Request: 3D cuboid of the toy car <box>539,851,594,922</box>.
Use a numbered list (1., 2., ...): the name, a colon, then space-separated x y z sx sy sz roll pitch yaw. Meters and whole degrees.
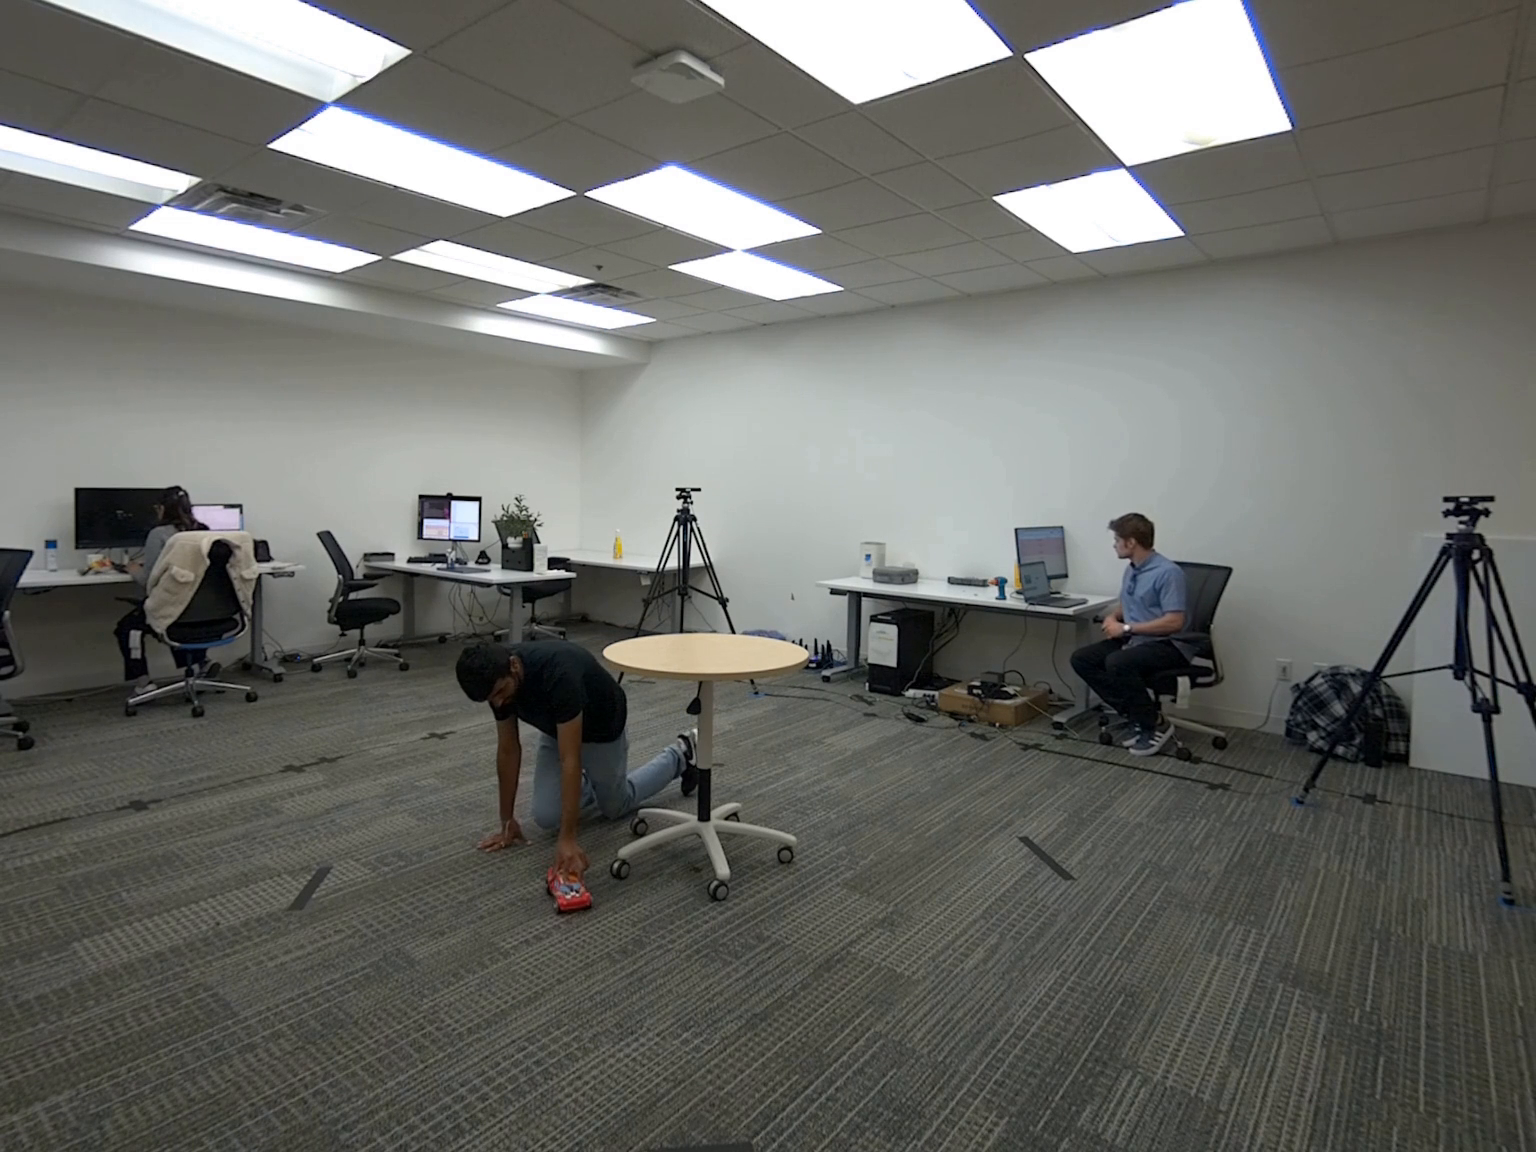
1. toy car: -0.691 1.047 2.870 0.127 0.082 0.263 -2 16 -24
